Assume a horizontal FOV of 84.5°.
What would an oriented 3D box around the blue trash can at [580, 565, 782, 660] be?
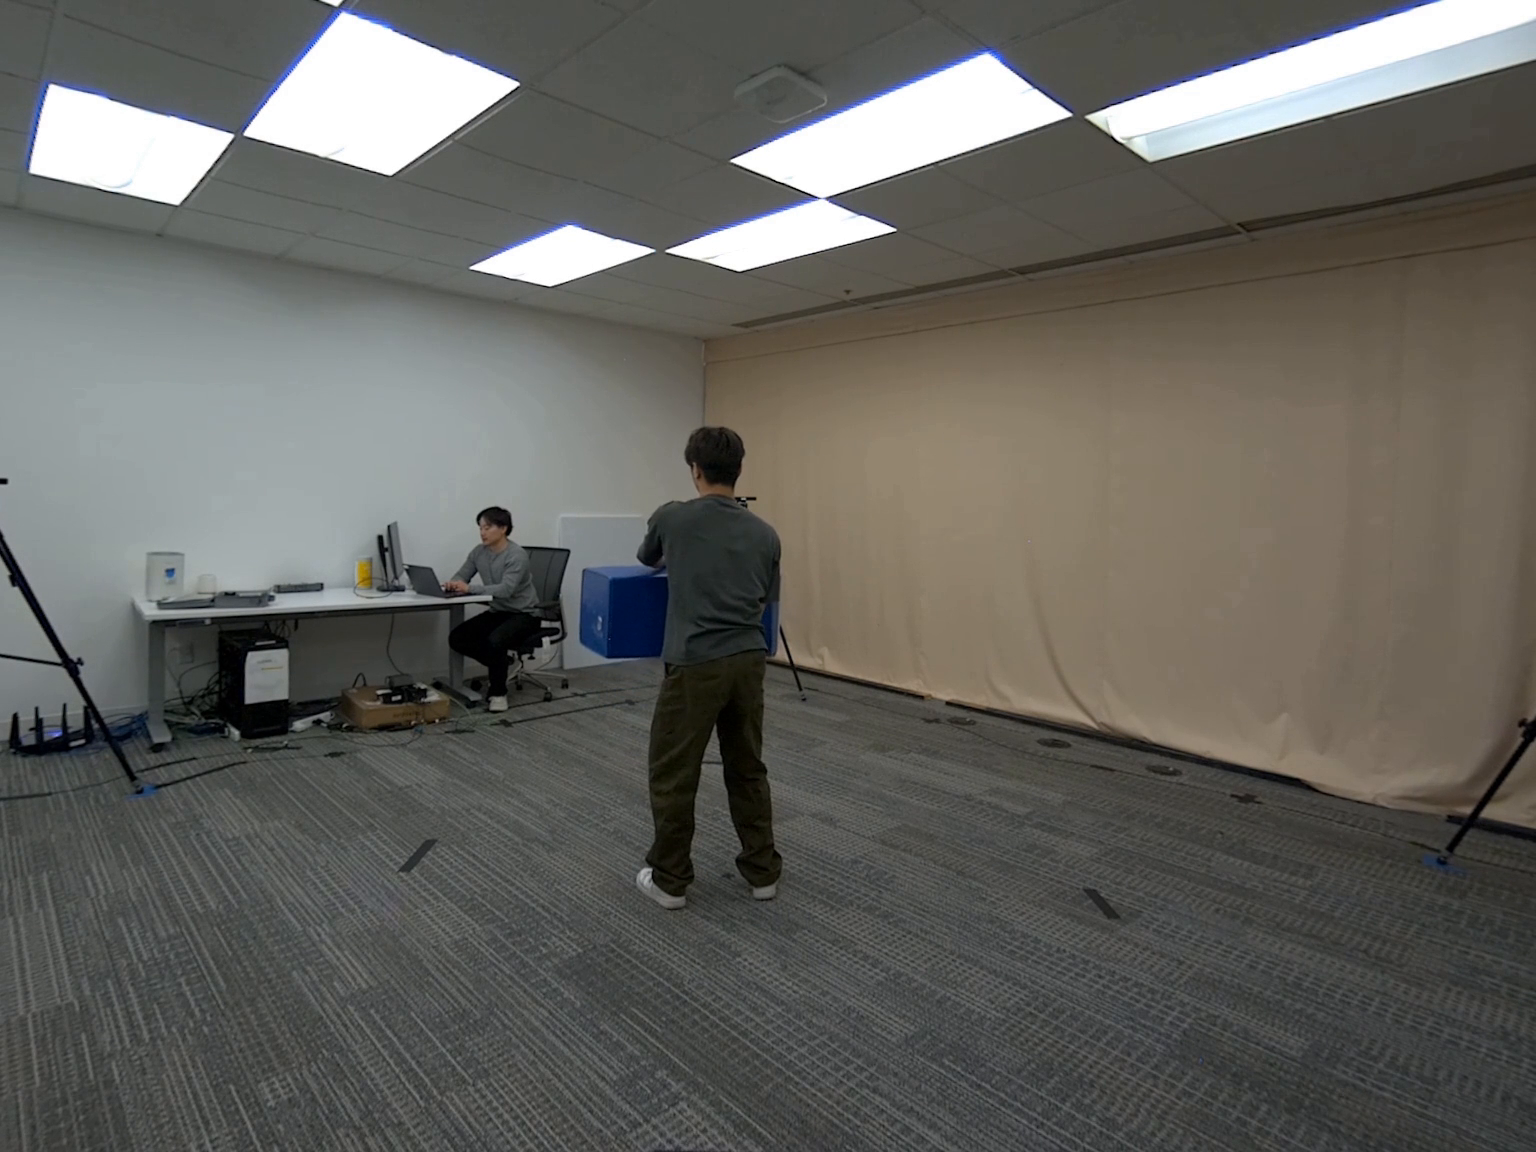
[{"bbox_3d":[-0.362,0.142,3.331,0.700,0.372,0.387,-2,7,-29],"label":"blue trash can"}]
